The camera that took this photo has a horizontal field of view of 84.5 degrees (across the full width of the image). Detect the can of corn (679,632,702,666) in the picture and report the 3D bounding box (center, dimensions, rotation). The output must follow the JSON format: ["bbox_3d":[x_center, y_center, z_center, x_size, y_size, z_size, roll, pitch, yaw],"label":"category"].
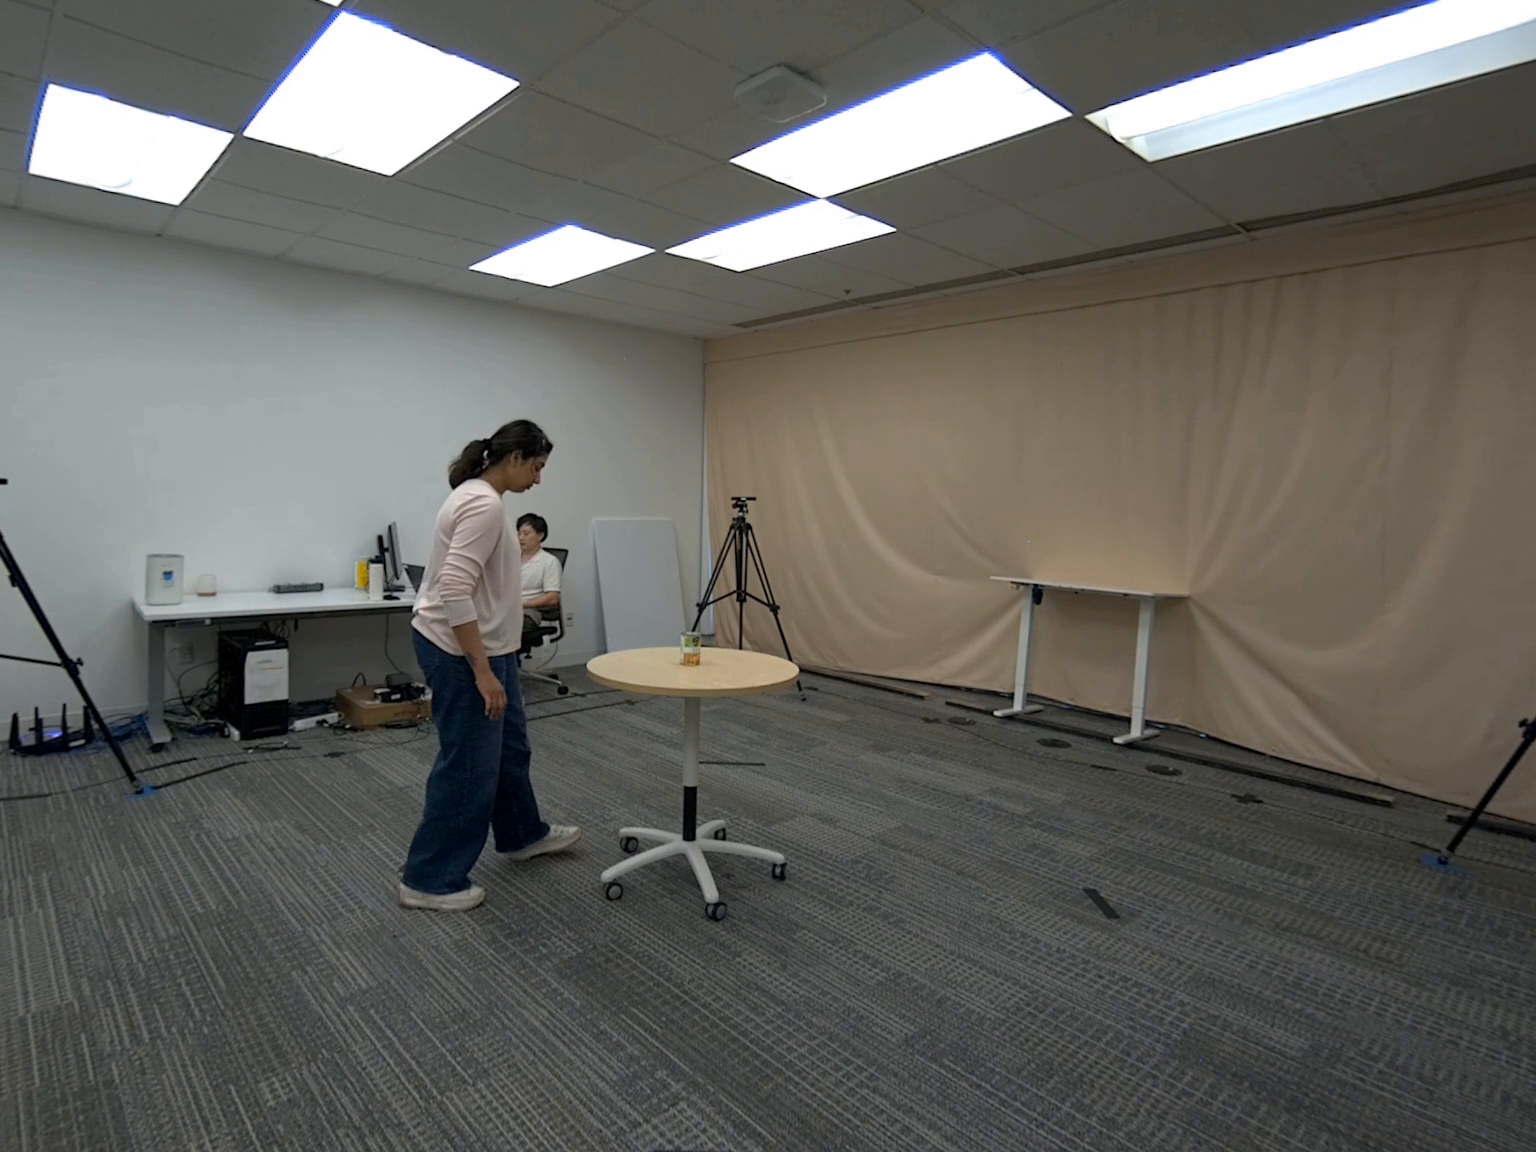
[{"bbox_3d":[-0.292,0.267,3.069,0.074,0.110,0.074,1,6,-1],"label":"can of corn"}]
